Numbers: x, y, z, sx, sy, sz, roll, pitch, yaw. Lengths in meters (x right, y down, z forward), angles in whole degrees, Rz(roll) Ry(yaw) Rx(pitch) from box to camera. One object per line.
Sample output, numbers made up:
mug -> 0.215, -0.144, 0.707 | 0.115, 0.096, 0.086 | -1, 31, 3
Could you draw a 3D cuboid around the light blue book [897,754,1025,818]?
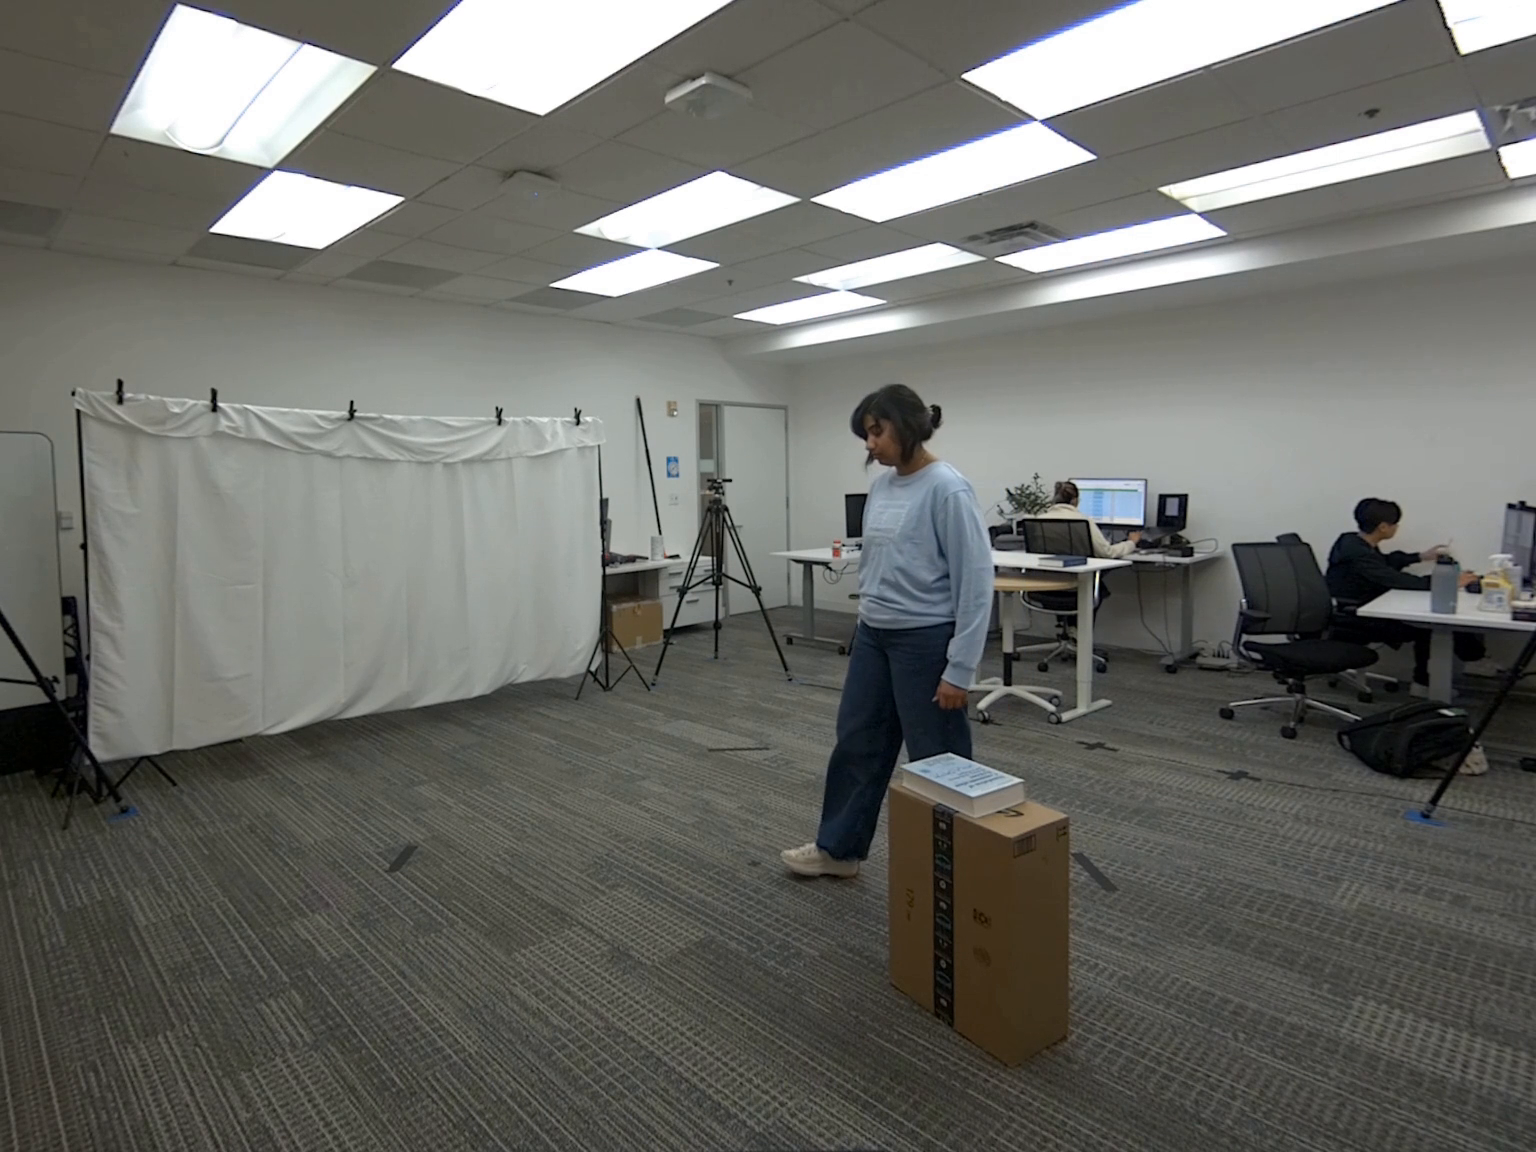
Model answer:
light blue book -> 0.496, 0.541, 2.240 | 0.187, 0.059, 0.268 | -7, 8, -32
